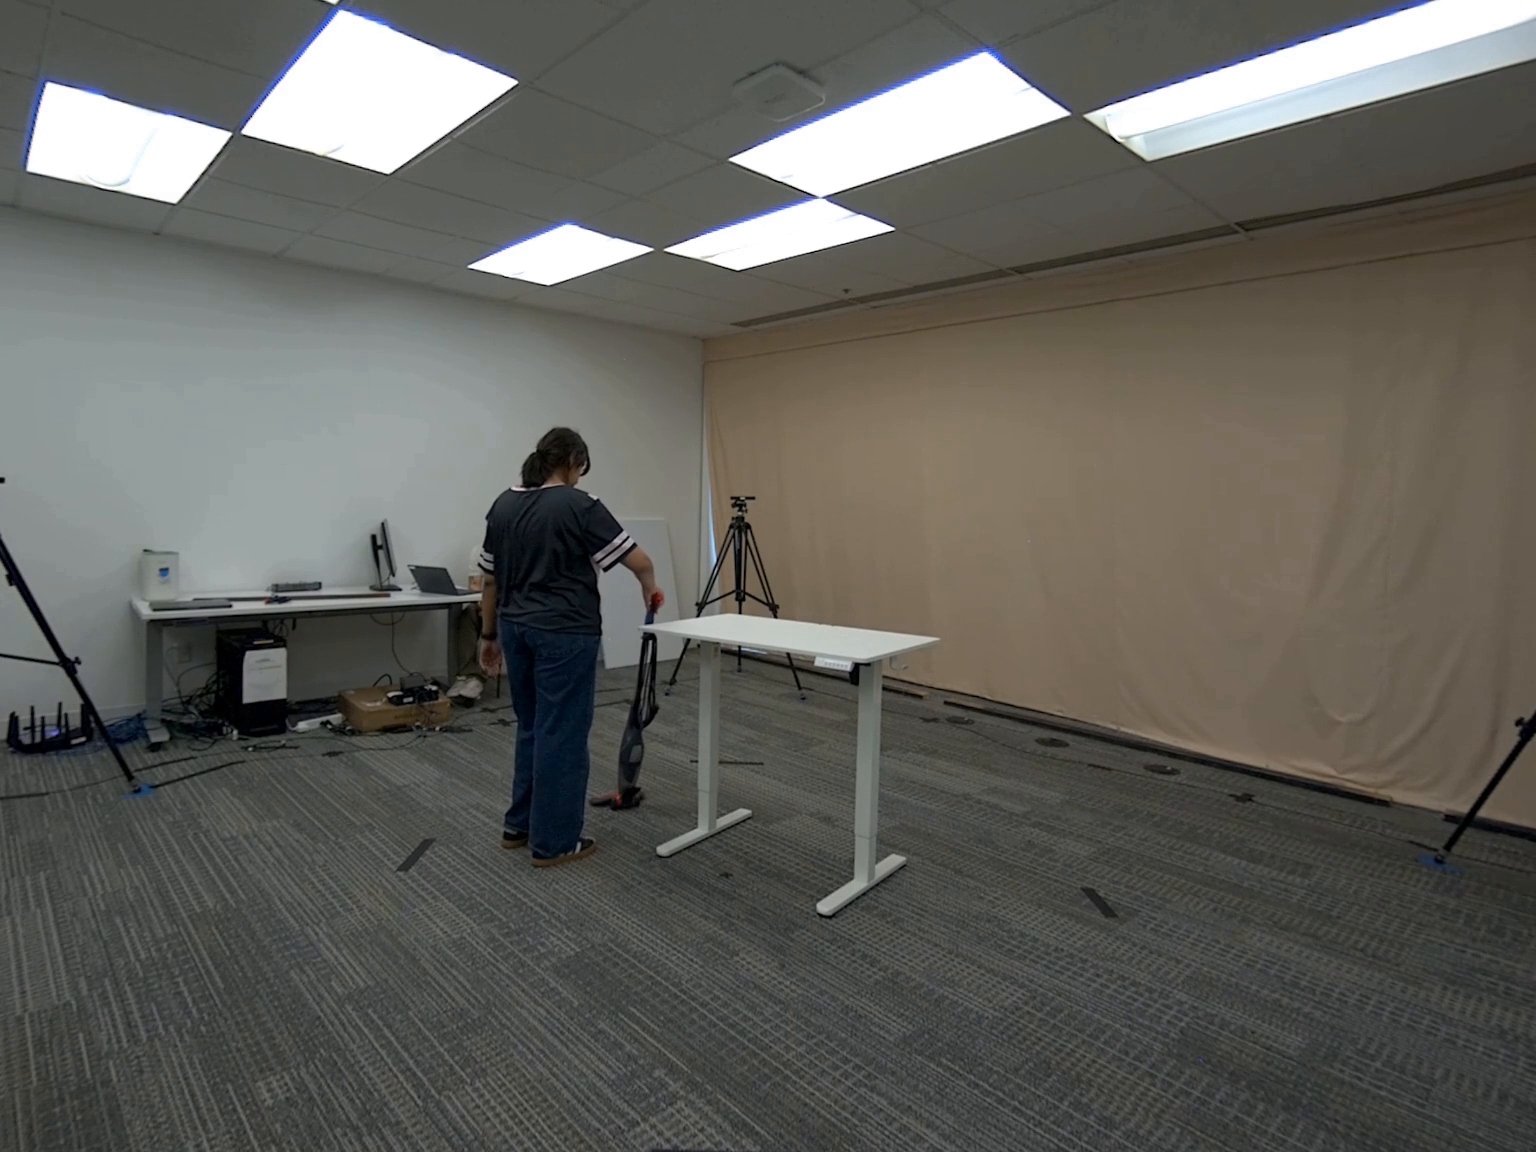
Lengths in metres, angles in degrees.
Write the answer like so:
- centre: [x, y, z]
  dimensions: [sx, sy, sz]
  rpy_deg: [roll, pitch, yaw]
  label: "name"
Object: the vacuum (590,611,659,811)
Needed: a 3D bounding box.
- centre: [-0.564, 0.560, 3.615]
  dimensions: [0.247, 1.037, 0.148]
  rpy_deg: [0, 25, -30]
  label: "vacuum"
